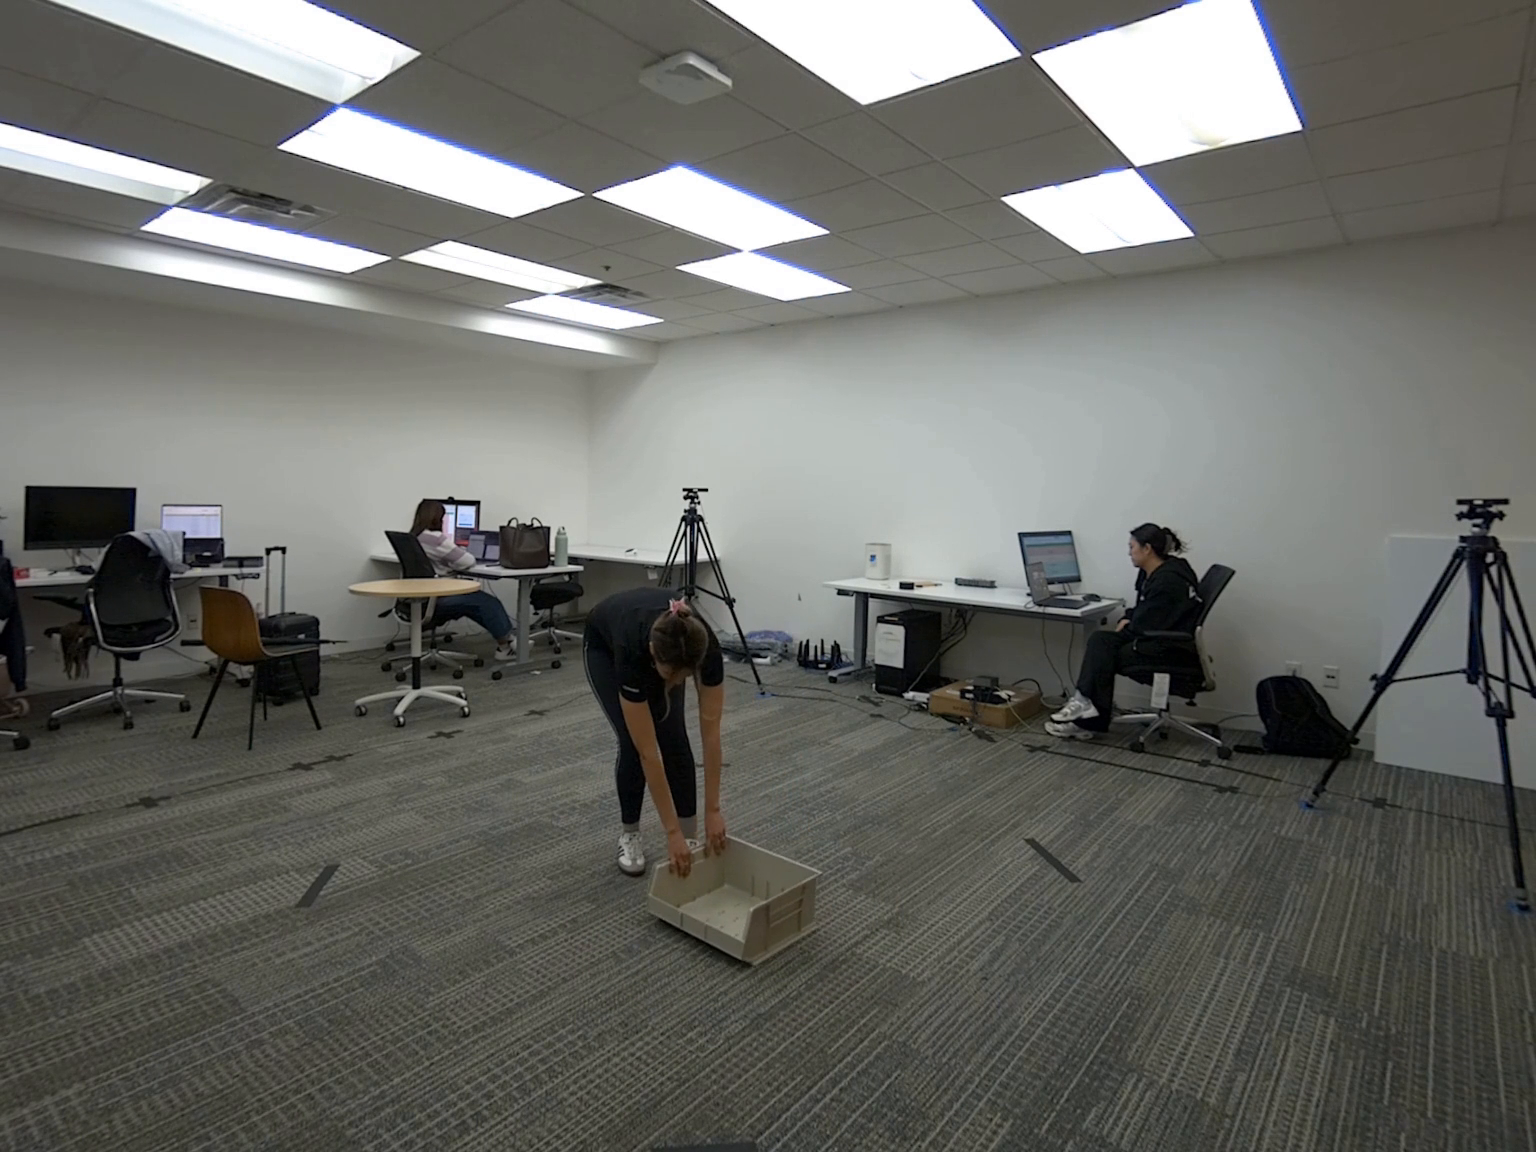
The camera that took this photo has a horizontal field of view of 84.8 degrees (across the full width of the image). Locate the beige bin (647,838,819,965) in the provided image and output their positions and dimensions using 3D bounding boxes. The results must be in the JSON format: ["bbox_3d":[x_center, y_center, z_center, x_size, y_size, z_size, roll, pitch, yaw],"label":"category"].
[{"bbox_3d":[-0.115,1.023,2.706,0.436,0.188,0.366,4,5,40],"label":"beige bin"}]
